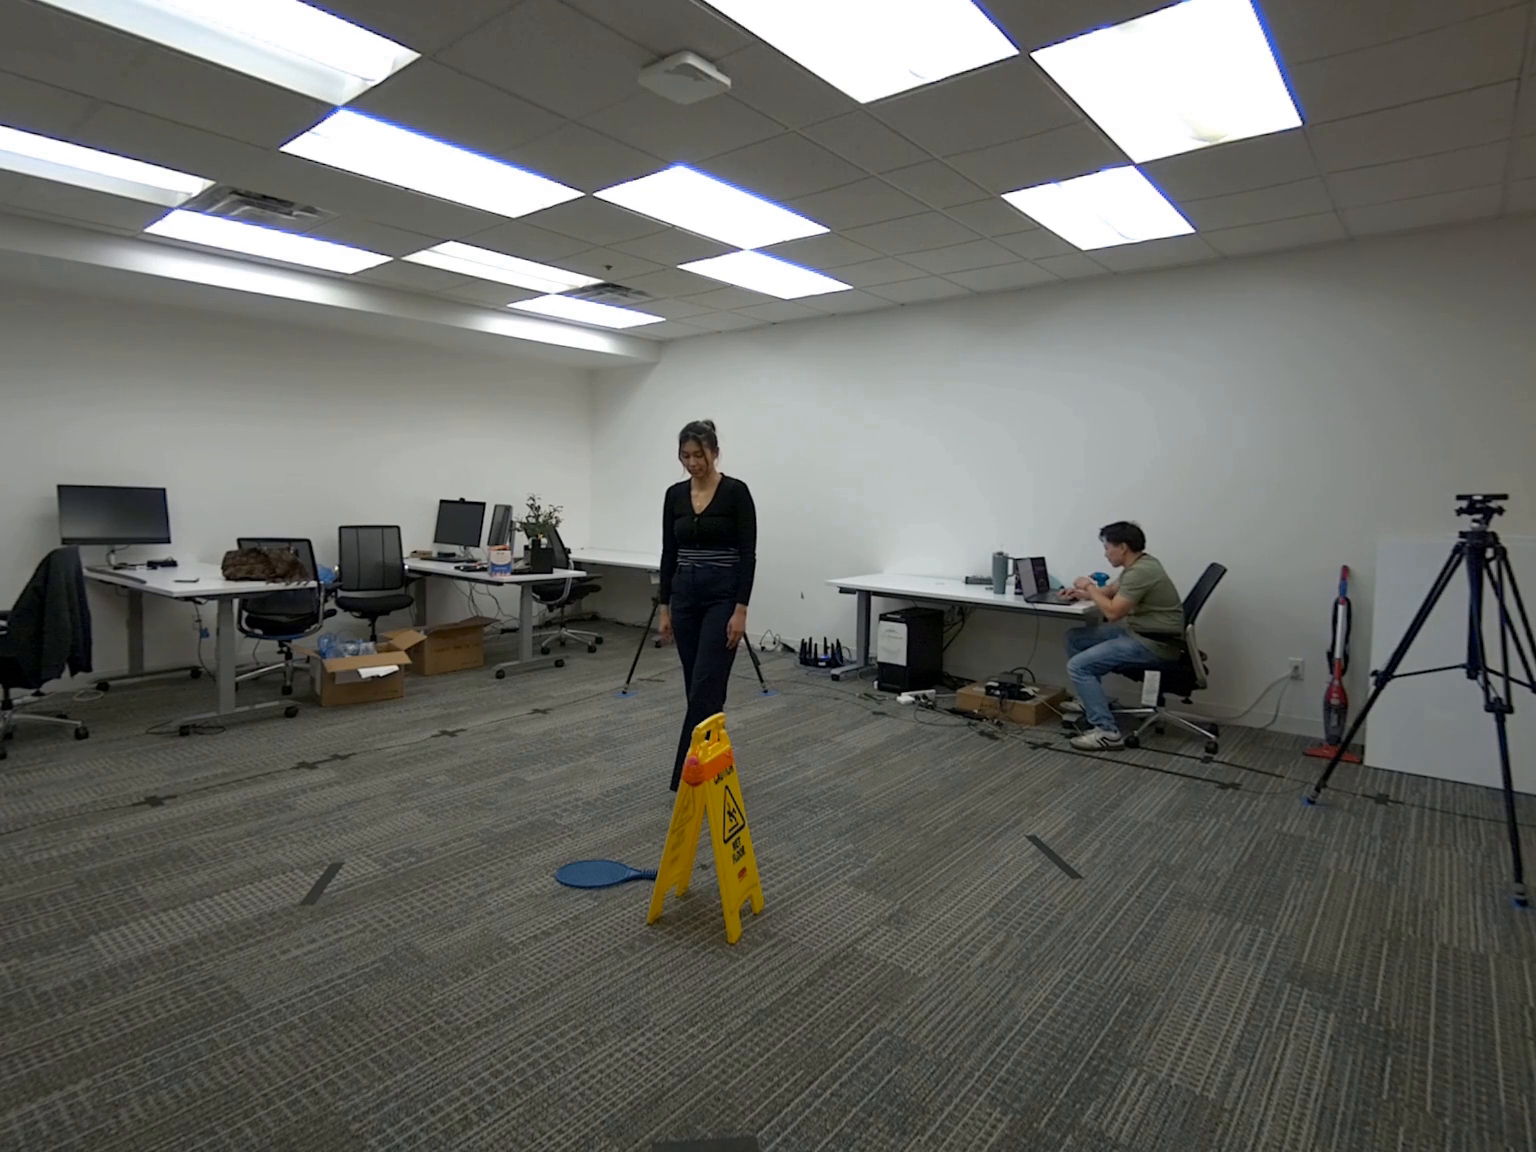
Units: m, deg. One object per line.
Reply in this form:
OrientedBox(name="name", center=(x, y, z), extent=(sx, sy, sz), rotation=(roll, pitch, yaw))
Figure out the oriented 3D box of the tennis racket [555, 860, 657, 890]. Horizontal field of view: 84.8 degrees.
OrientedBox(name="tennis racket", center=(-0.552, 1.053, 3.027), extent=(0.434, 0.031, 0.214), rotation=(0, 5, 2))
